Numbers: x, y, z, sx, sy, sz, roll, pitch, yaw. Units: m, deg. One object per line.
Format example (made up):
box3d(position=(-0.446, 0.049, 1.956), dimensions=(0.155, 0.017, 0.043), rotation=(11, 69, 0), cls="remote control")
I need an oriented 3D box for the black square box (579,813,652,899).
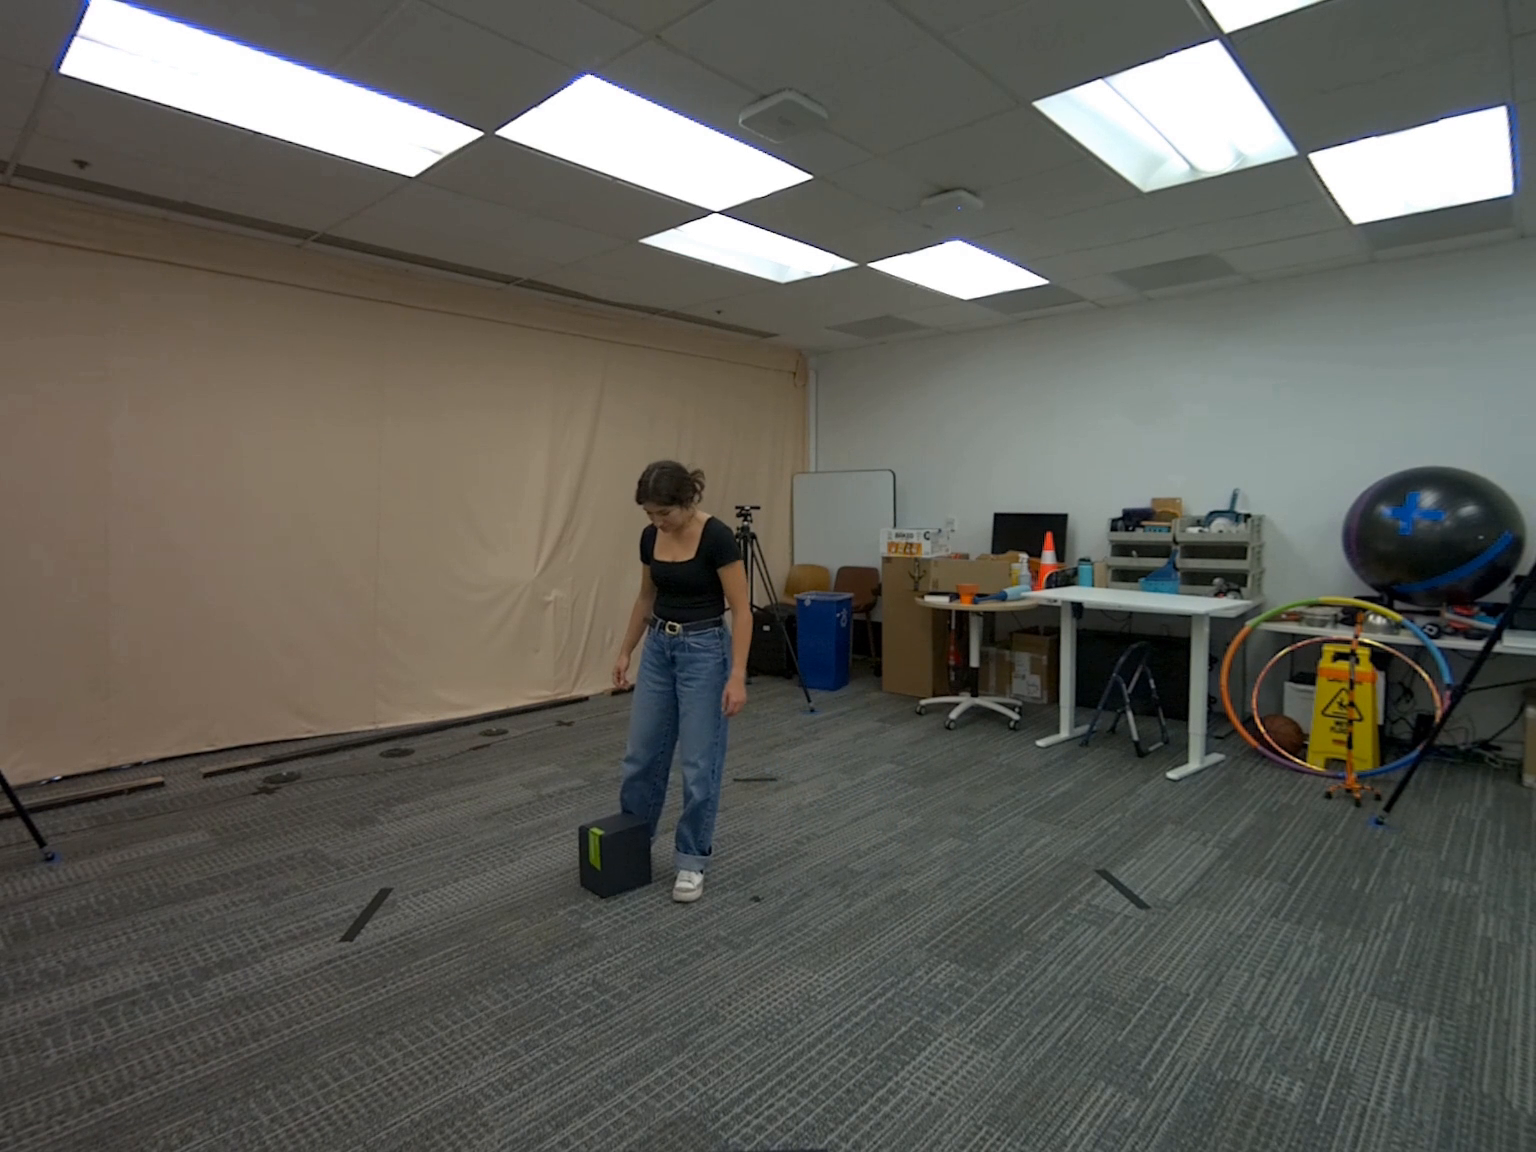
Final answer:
box3d(position=(-0.560, 1.022, 3.096), dimensions=(0.210, 0.227, 0.161), rotation=(-5, 4, -42), cls="black square box")
